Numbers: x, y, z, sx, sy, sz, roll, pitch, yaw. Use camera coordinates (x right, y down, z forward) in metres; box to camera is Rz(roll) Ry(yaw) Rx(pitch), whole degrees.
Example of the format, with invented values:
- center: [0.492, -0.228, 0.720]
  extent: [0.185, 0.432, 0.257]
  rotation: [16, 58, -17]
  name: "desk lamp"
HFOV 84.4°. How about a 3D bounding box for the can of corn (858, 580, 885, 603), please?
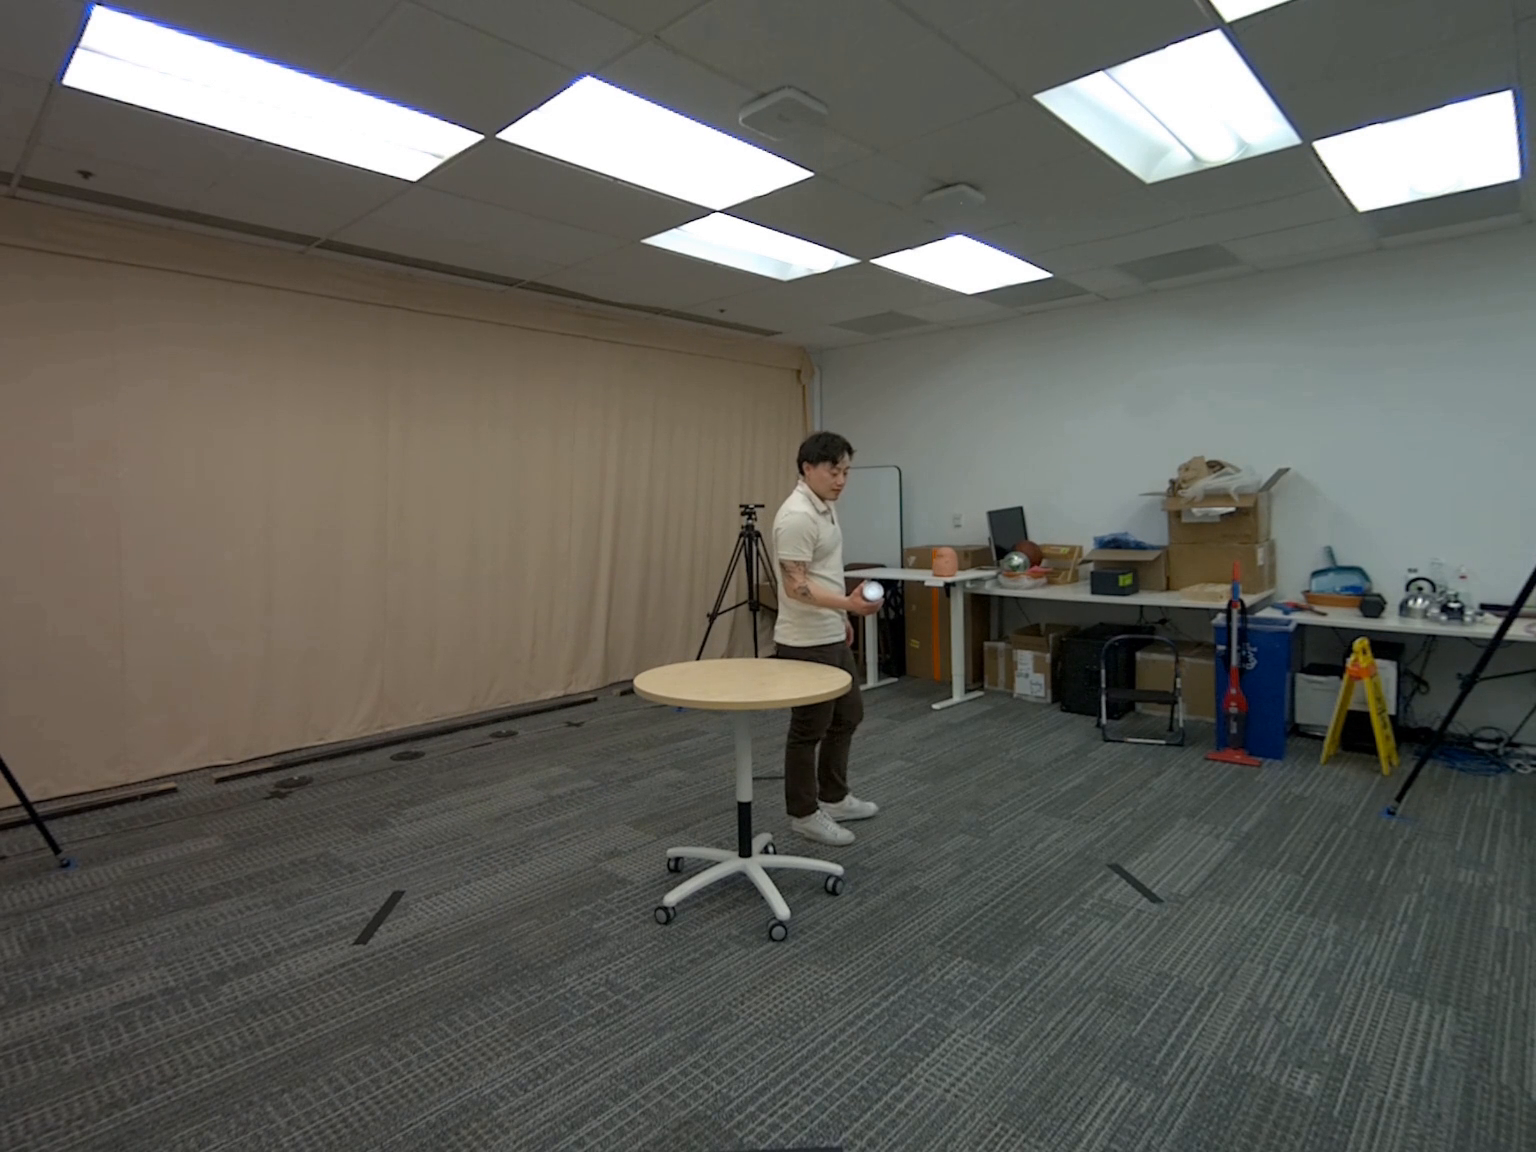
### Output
- center: [0.379, 0.067, 3.096]
  extent: [0.074, 0.075, 0.110]
  rotation: [-1, -16, -5]
  name: "can of corn"
